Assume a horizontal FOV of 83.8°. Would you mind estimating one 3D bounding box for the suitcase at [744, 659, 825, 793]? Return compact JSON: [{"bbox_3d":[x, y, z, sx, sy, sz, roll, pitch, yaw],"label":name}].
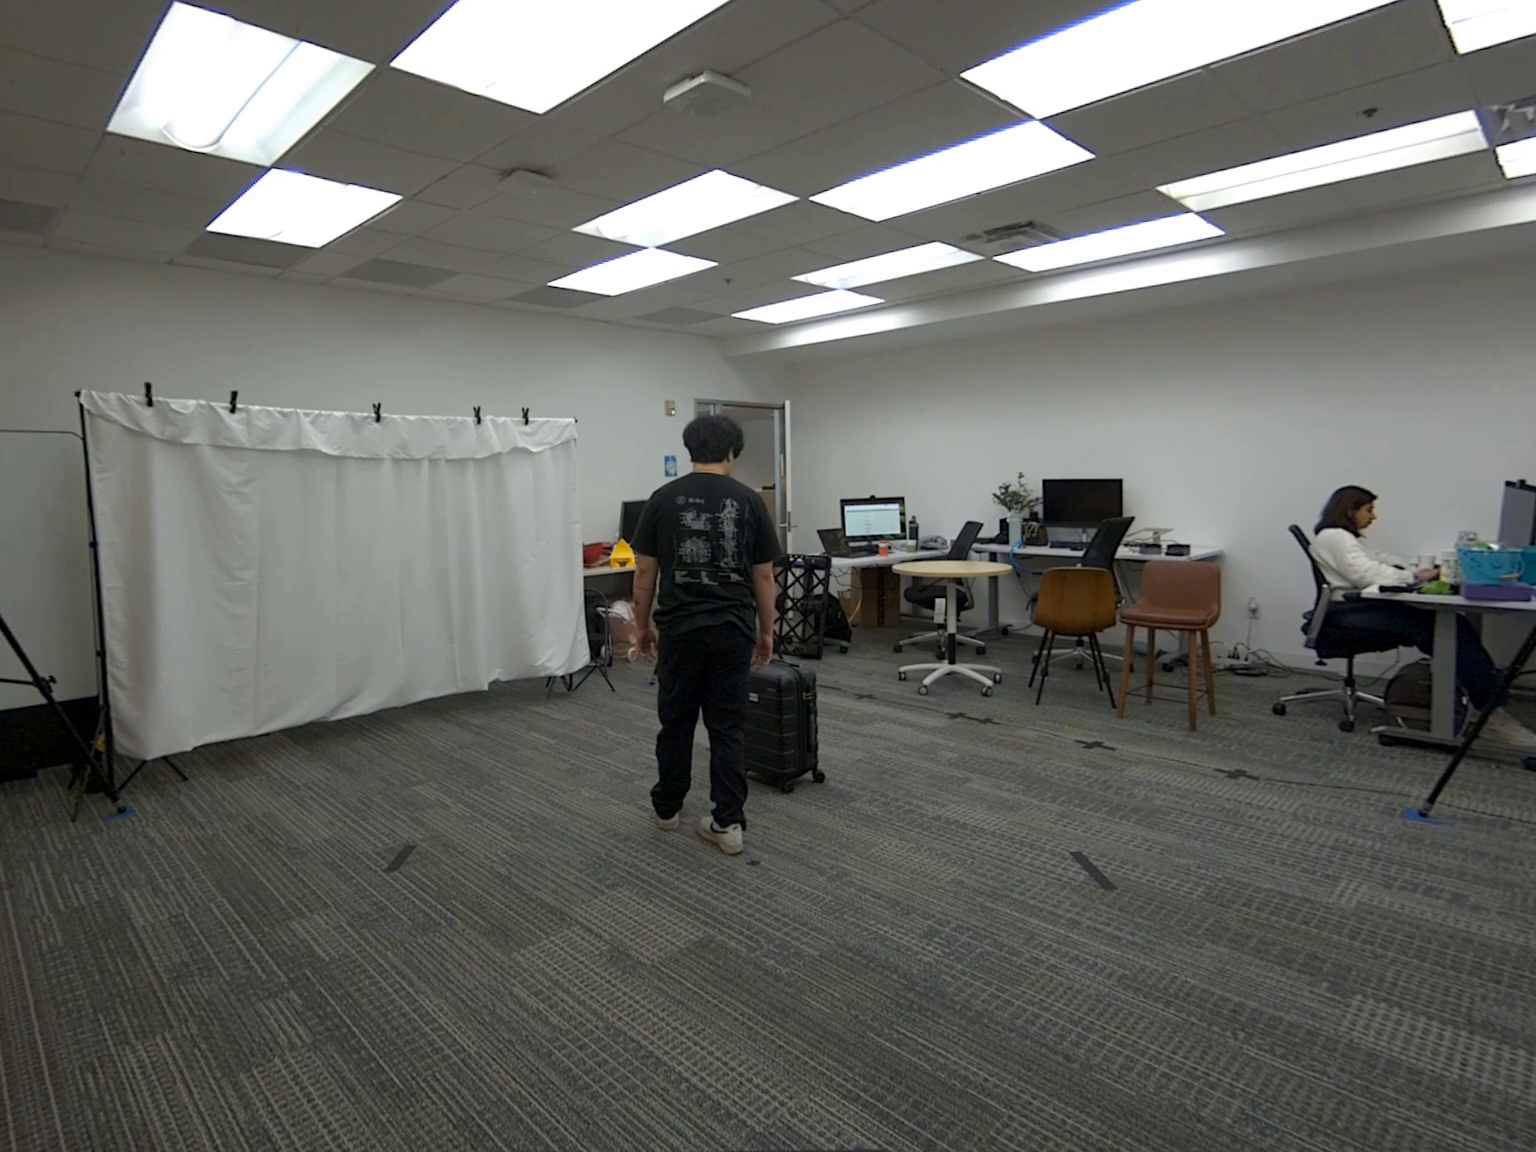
[{"bbox_3d":[0.038,0.671,3.949,0.242,0.547,0.387,-6,7,-42],"label":"suitcase"}]
